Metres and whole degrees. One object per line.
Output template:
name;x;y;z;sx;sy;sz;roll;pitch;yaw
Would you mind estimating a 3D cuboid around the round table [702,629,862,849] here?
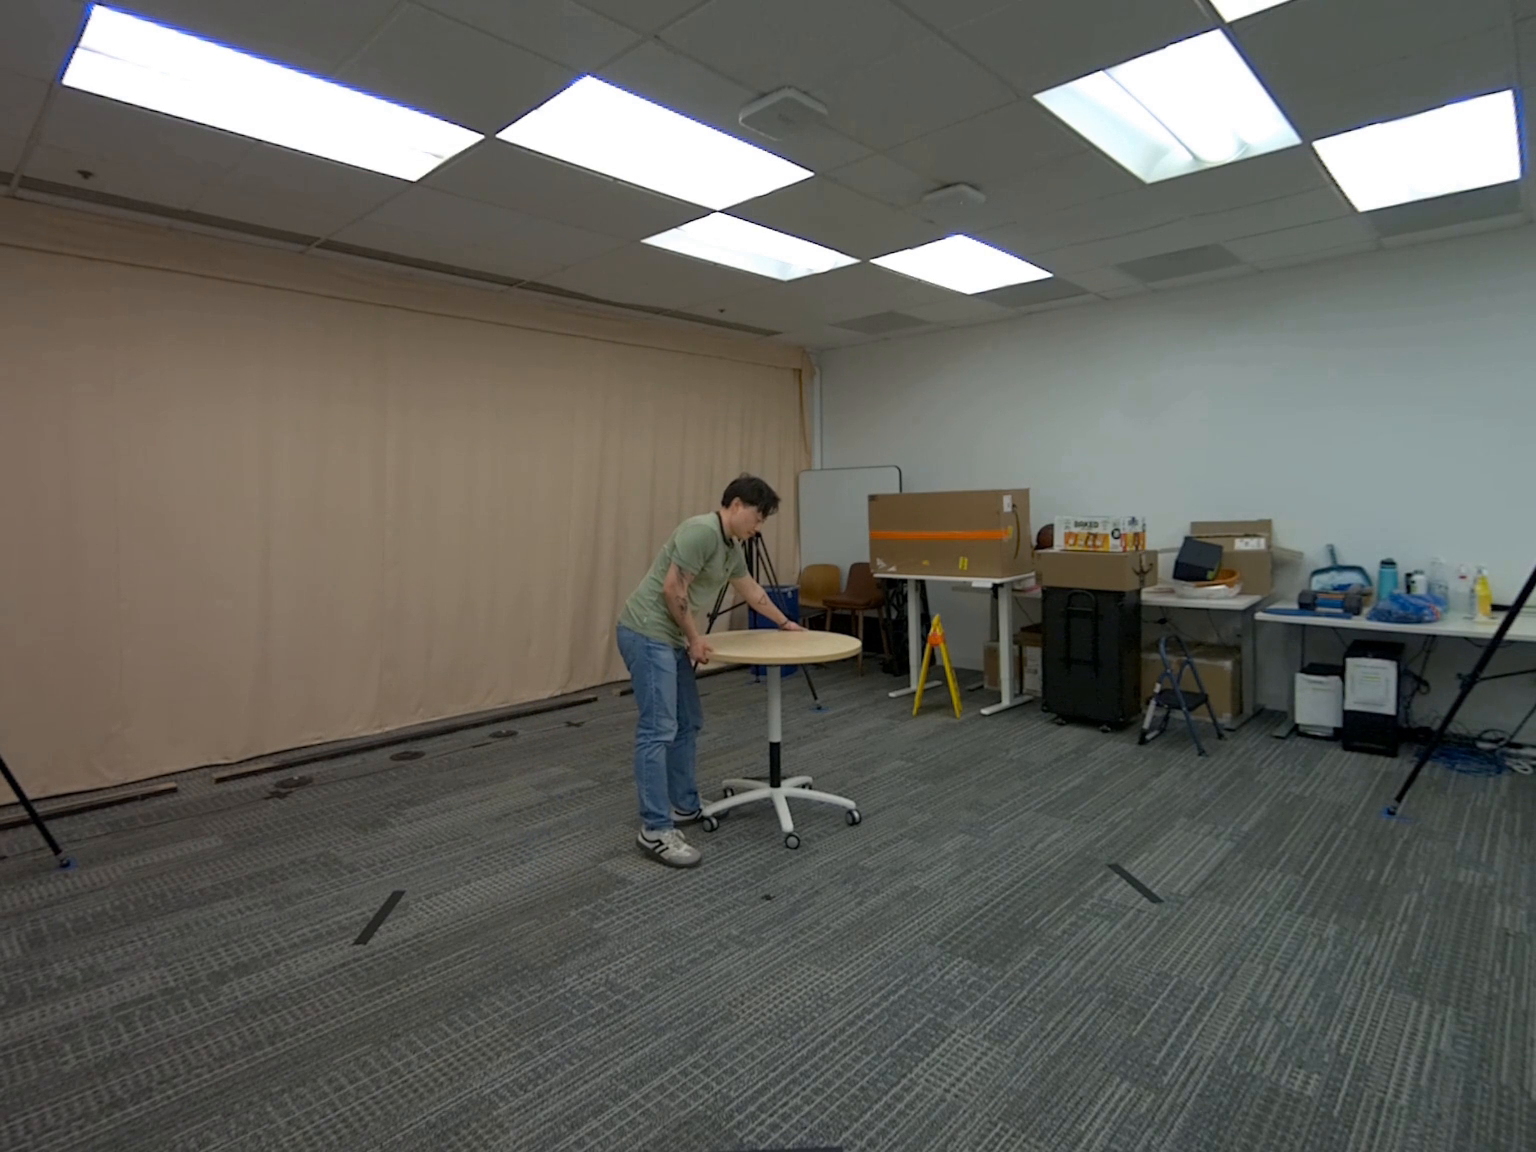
round table;0.031;0.686;3.723;0.763;0.792;0.766;-1;3;-2
